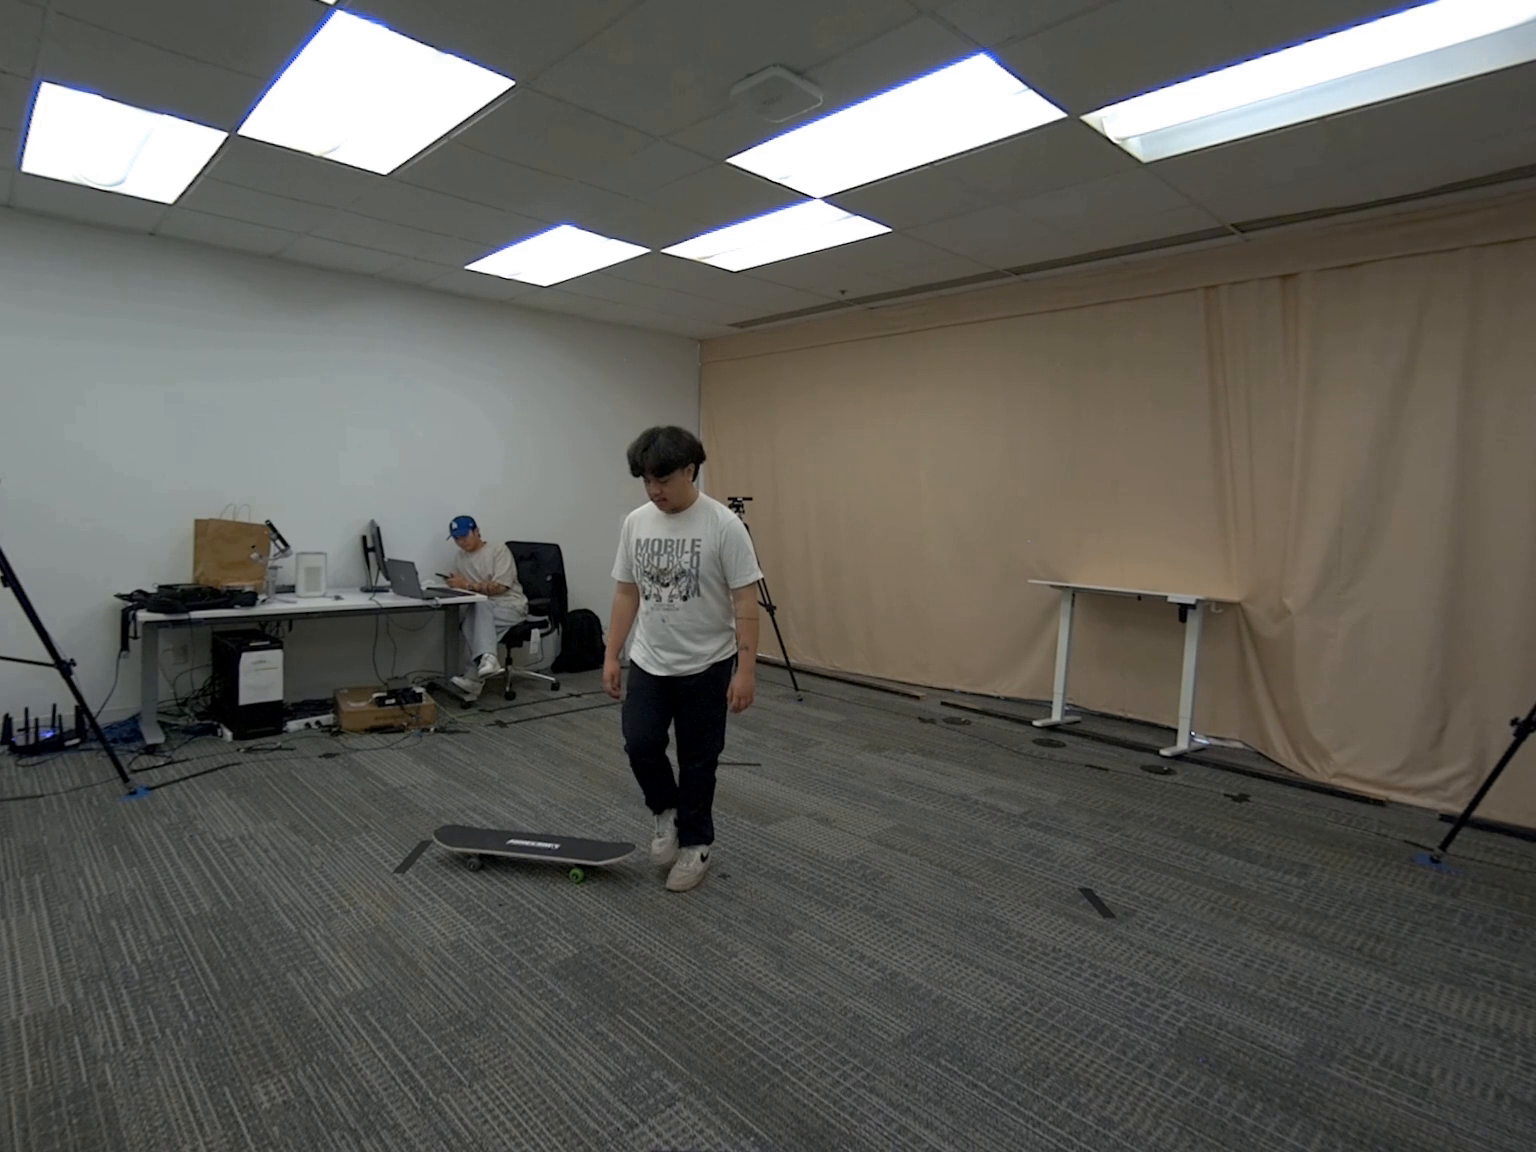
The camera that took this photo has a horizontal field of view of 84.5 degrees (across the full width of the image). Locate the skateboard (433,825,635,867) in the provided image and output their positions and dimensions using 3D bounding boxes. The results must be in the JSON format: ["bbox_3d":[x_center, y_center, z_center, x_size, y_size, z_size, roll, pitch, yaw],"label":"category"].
[{"bbox_3d":[-0.872,1.028,3.130,0.792,0.110,0.192,2,6,11],"label":"skateboard"}]
